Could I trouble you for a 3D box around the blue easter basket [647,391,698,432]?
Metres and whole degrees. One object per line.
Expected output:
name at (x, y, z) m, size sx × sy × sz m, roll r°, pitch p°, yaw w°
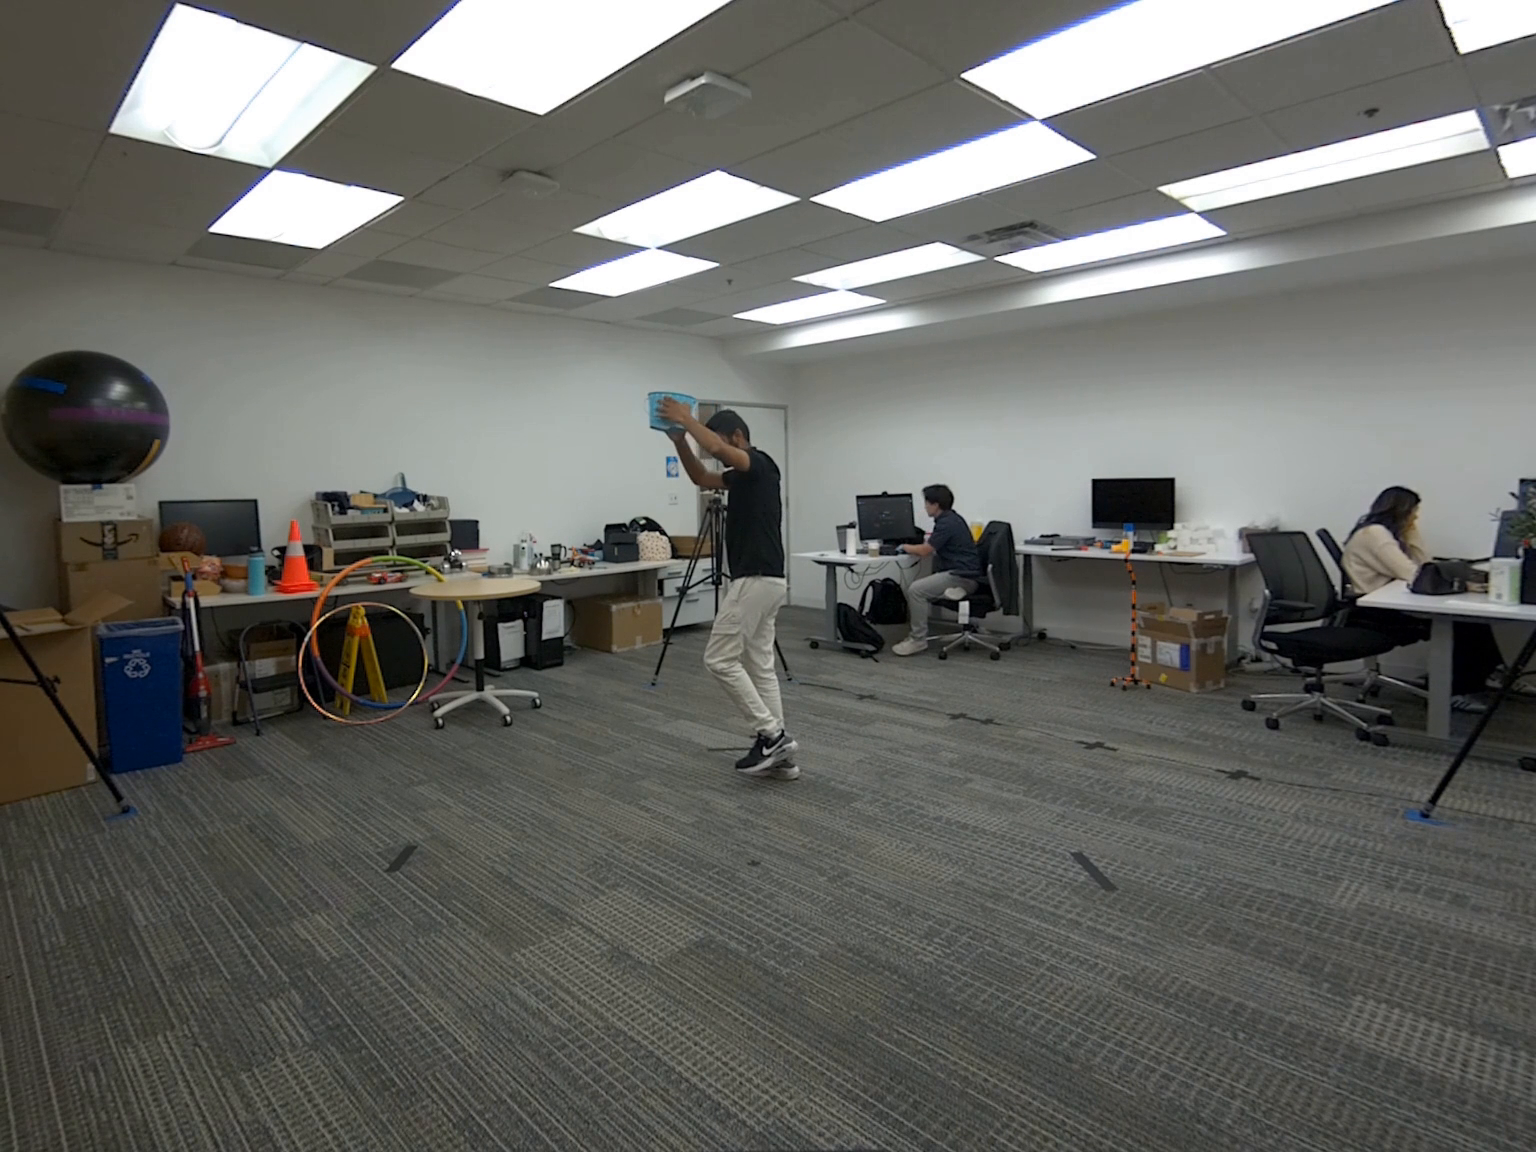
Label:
blue easter basket at (-0.464, -0.757, 3.995) m, size 0.243 × 0.156 × 0.244 m, roll 6°, pitch 1°, yaw -2°
